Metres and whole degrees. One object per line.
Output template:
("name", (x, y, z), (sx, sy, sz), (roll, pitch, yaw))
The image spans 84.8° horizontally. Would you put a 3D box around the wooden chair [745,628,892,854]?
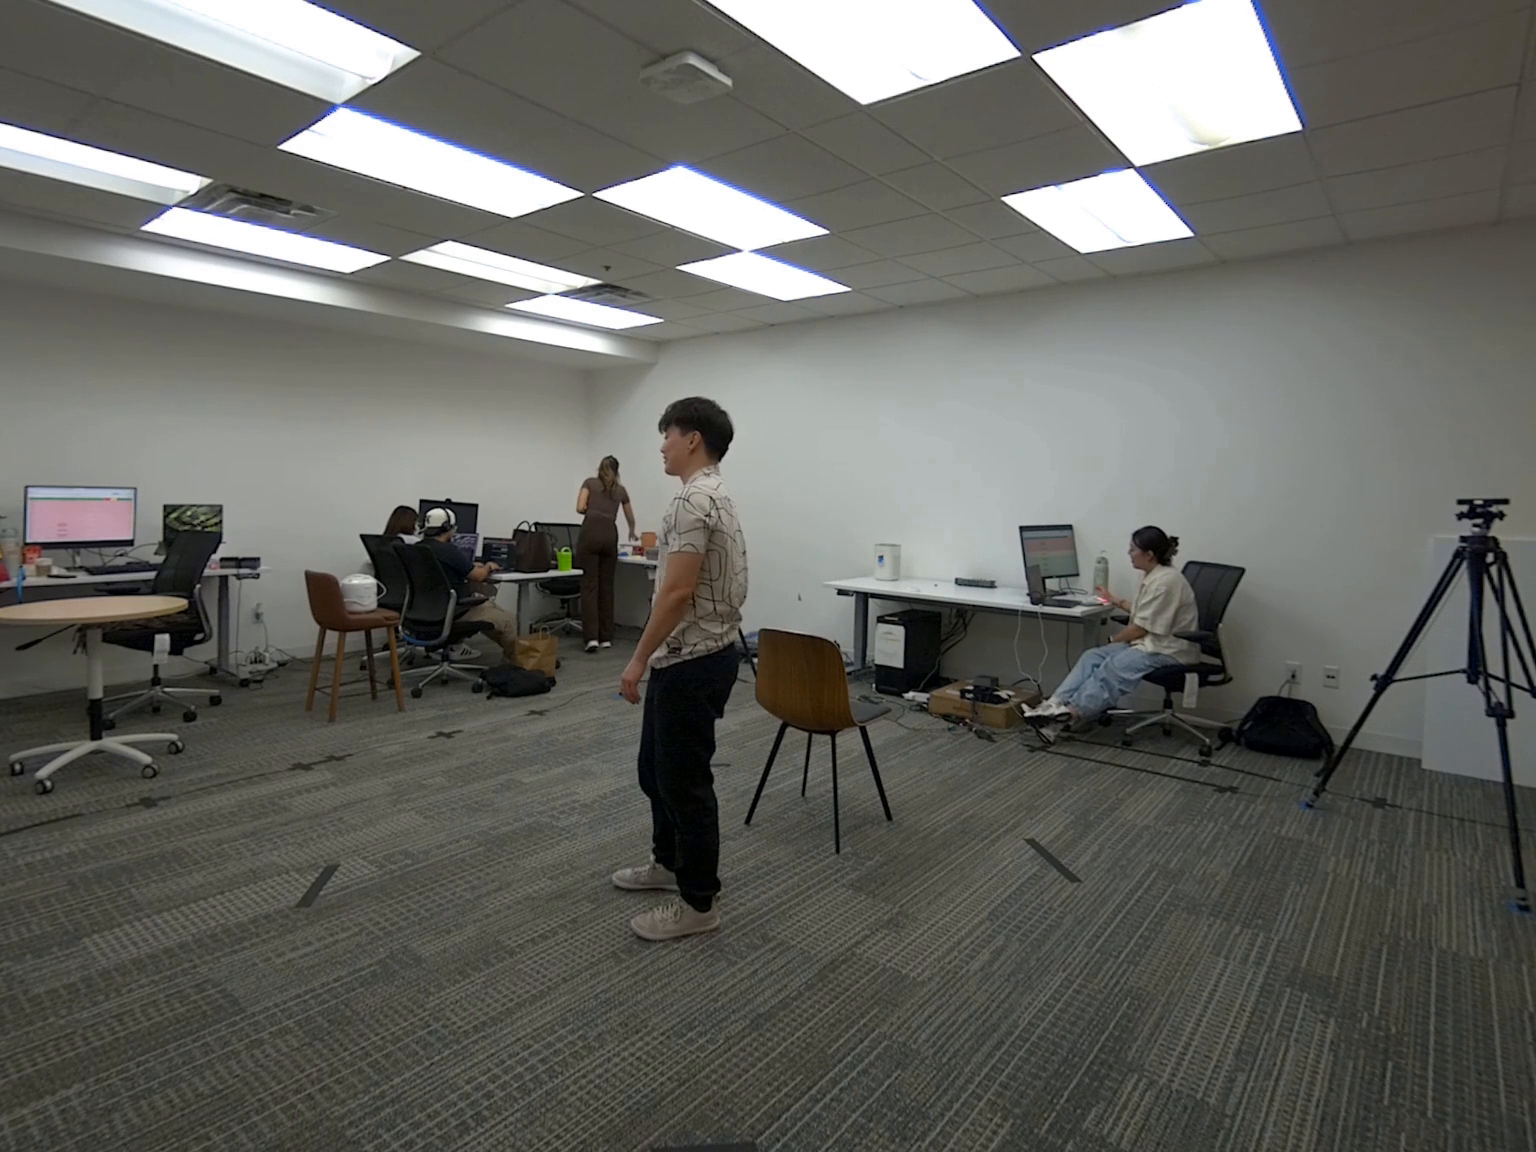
("wooden chair", (0.218, 0.607, 3.559), (0.493, 0.872, 0.510), (3, 8, 36))
